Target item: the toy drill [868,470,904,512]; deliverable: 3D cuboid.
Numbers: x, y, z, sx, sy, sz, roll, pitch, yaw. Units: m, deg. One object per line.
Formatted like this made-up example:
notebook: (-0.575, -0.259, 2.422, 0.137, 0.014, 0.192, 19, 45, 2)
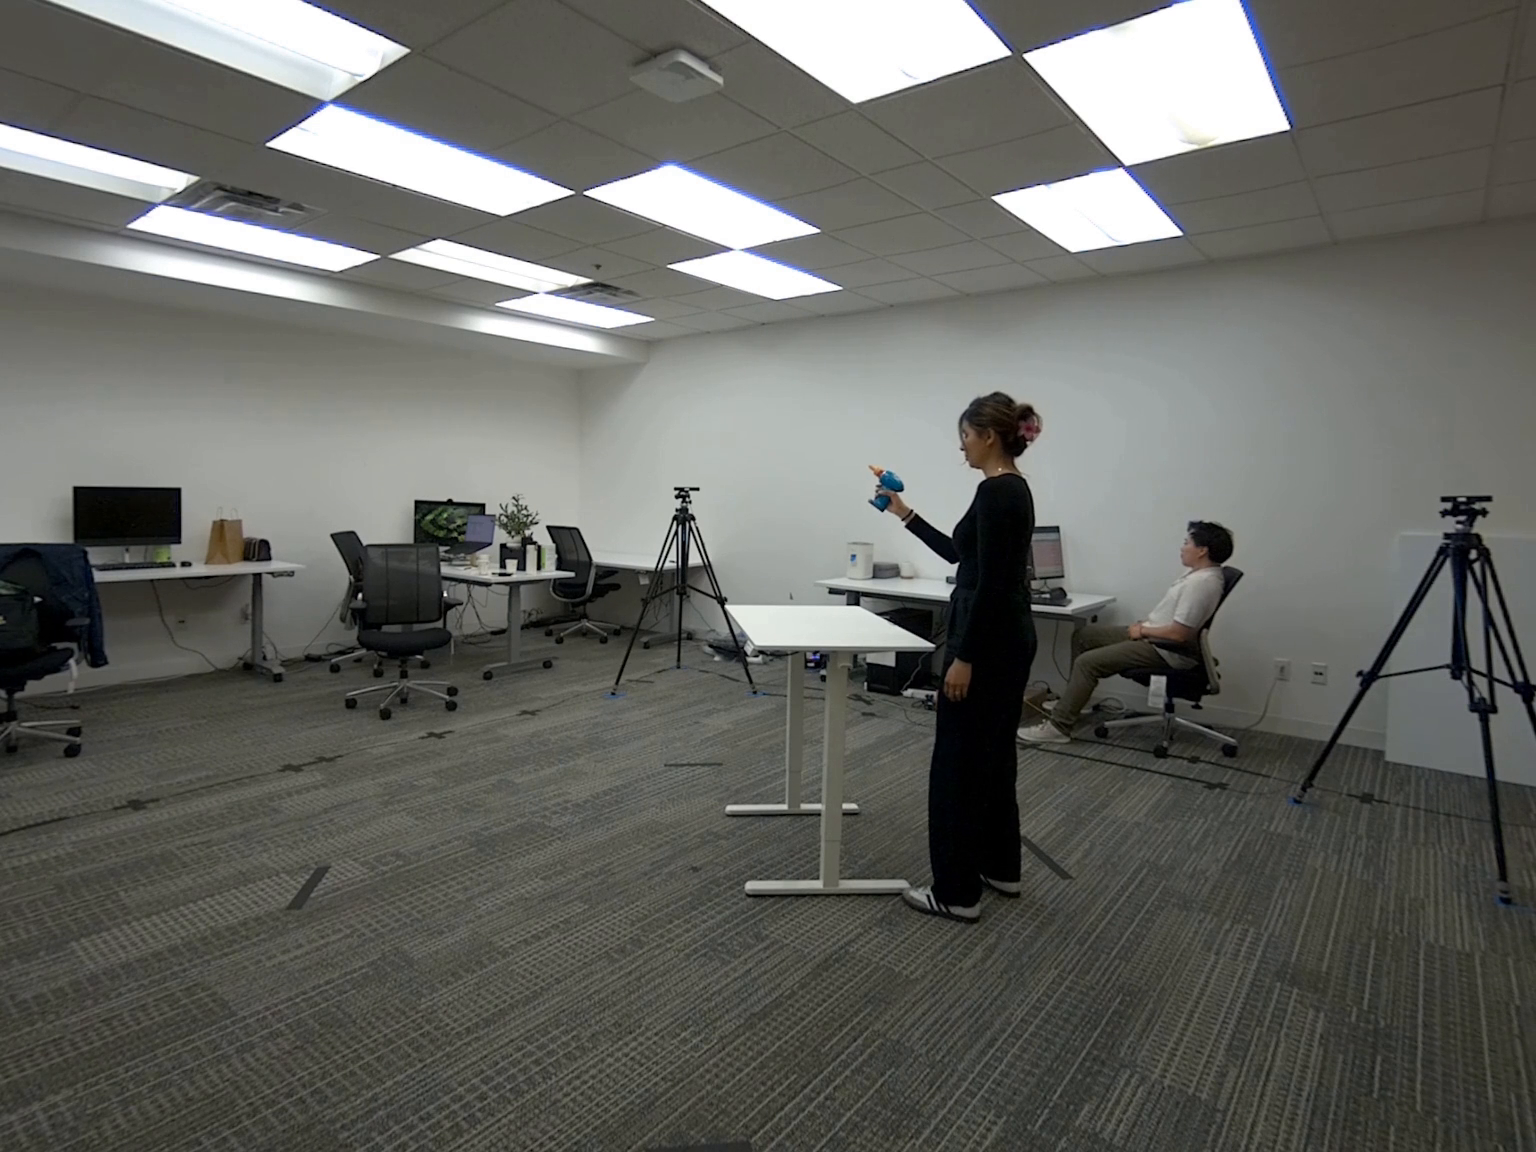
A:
toy drill: (0.427, -0.348, 3.254, 0.175, 0.146, 0.059, 43, 8, 22)
